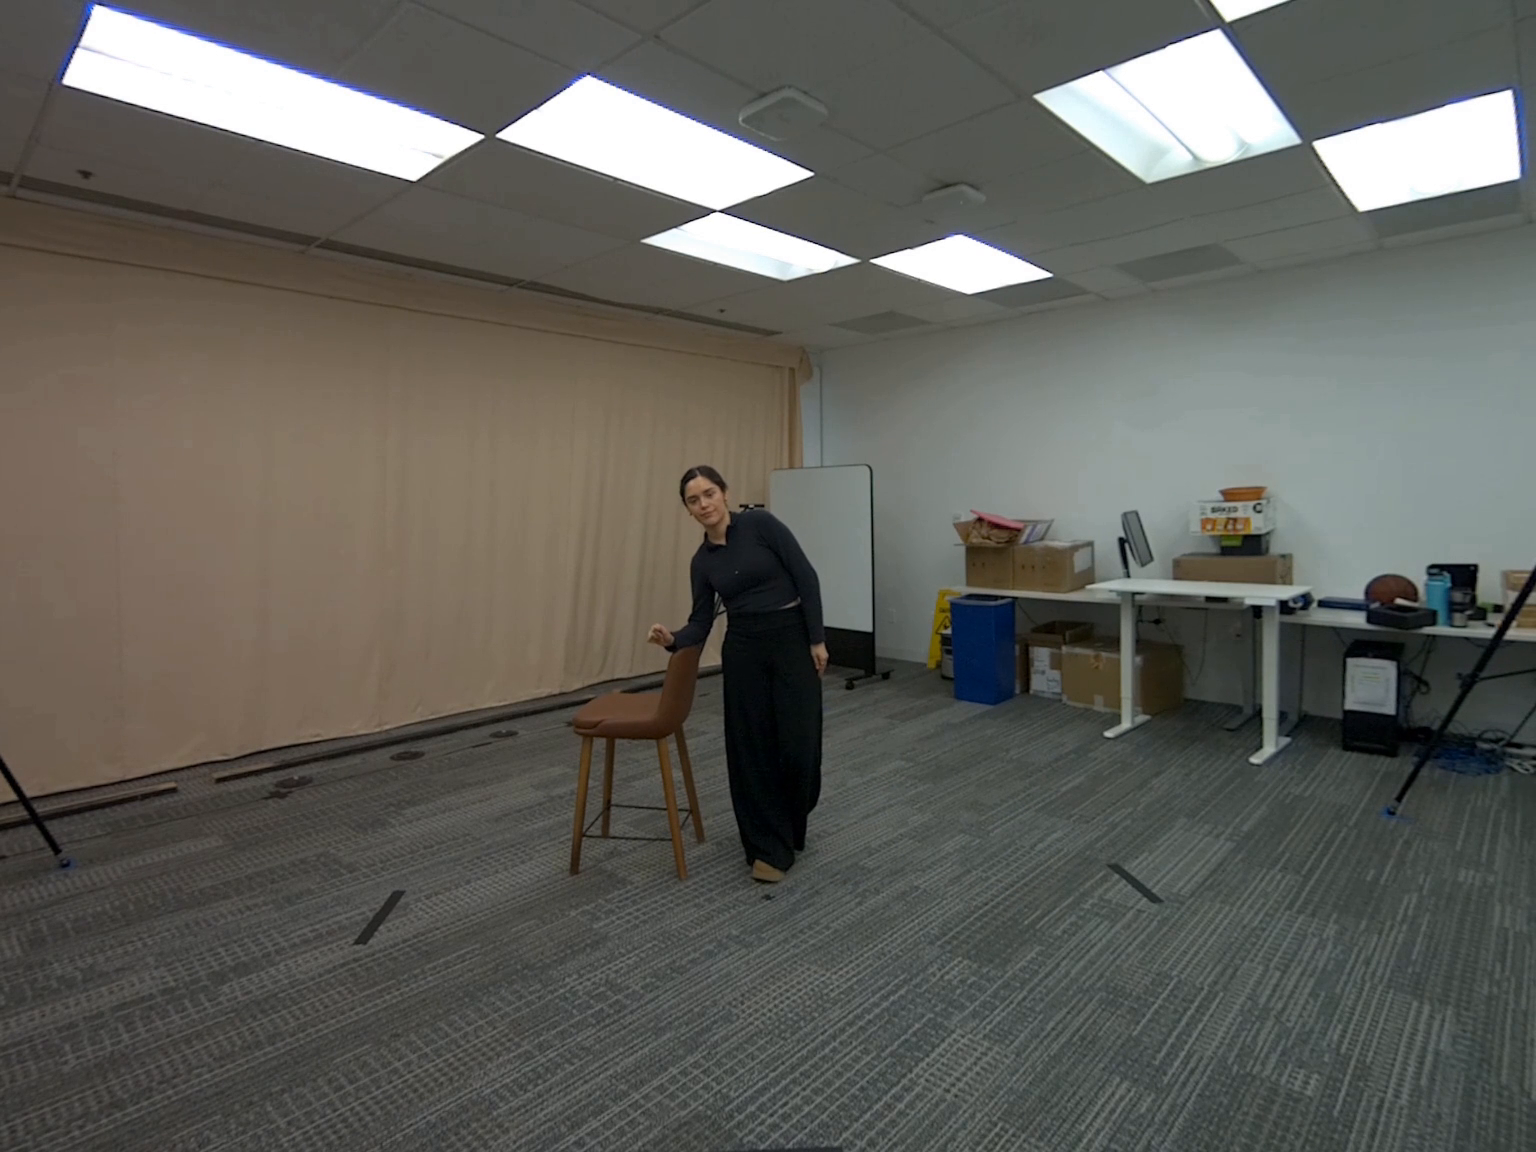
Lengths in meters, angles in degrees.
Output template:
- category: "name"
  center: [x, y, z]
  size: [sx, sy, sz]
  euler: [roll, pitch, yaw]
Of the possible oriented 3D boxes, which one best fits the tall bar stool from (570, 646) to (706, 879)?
- category: "tall bar stool"
  center: [-0.512, 0.688, 3.343]
  size: [0.473, 0.888, 0.452]
  euler: [1, 3, 10]
